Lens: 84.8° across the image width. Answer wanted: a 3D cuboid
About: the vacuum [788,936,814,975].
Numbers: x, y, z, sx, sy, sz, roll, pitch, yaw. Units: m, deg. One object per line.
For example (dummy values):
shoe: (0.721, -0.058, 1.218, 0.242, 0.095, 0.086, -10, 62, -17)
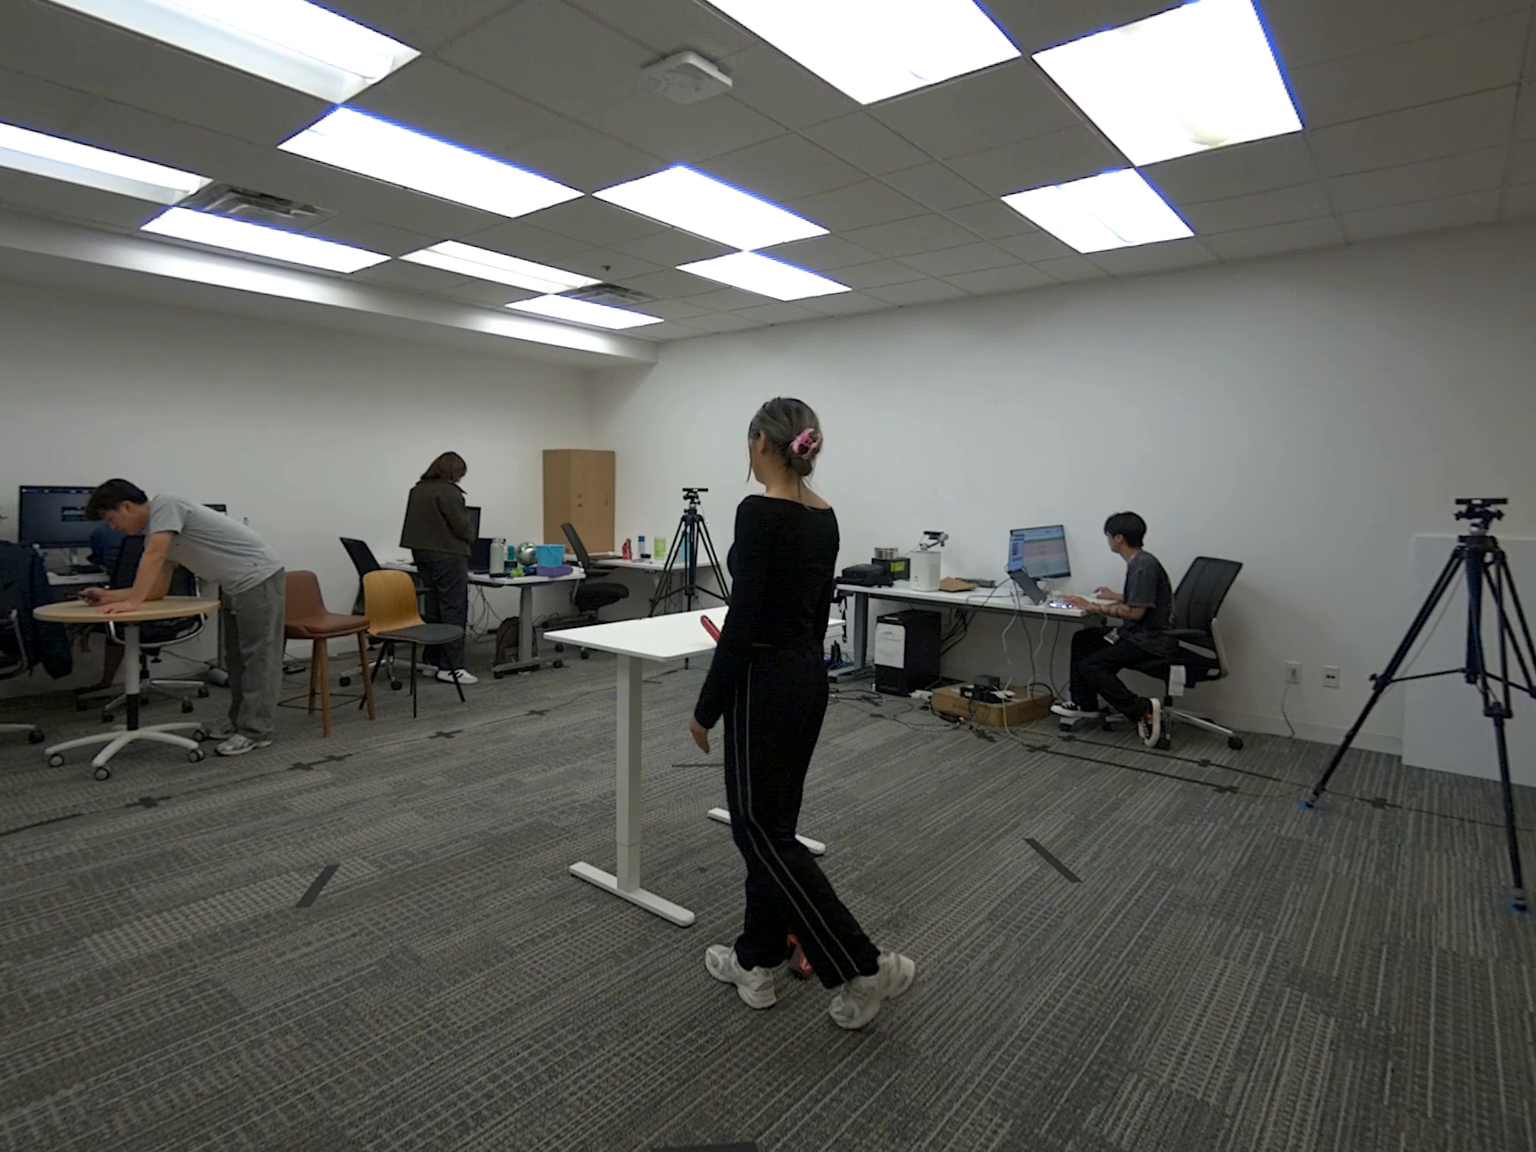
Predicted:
vacuum: (-0.048, 0.630, 2.654, 0.246, 1.064, 0.146, -9, -14, -39)
